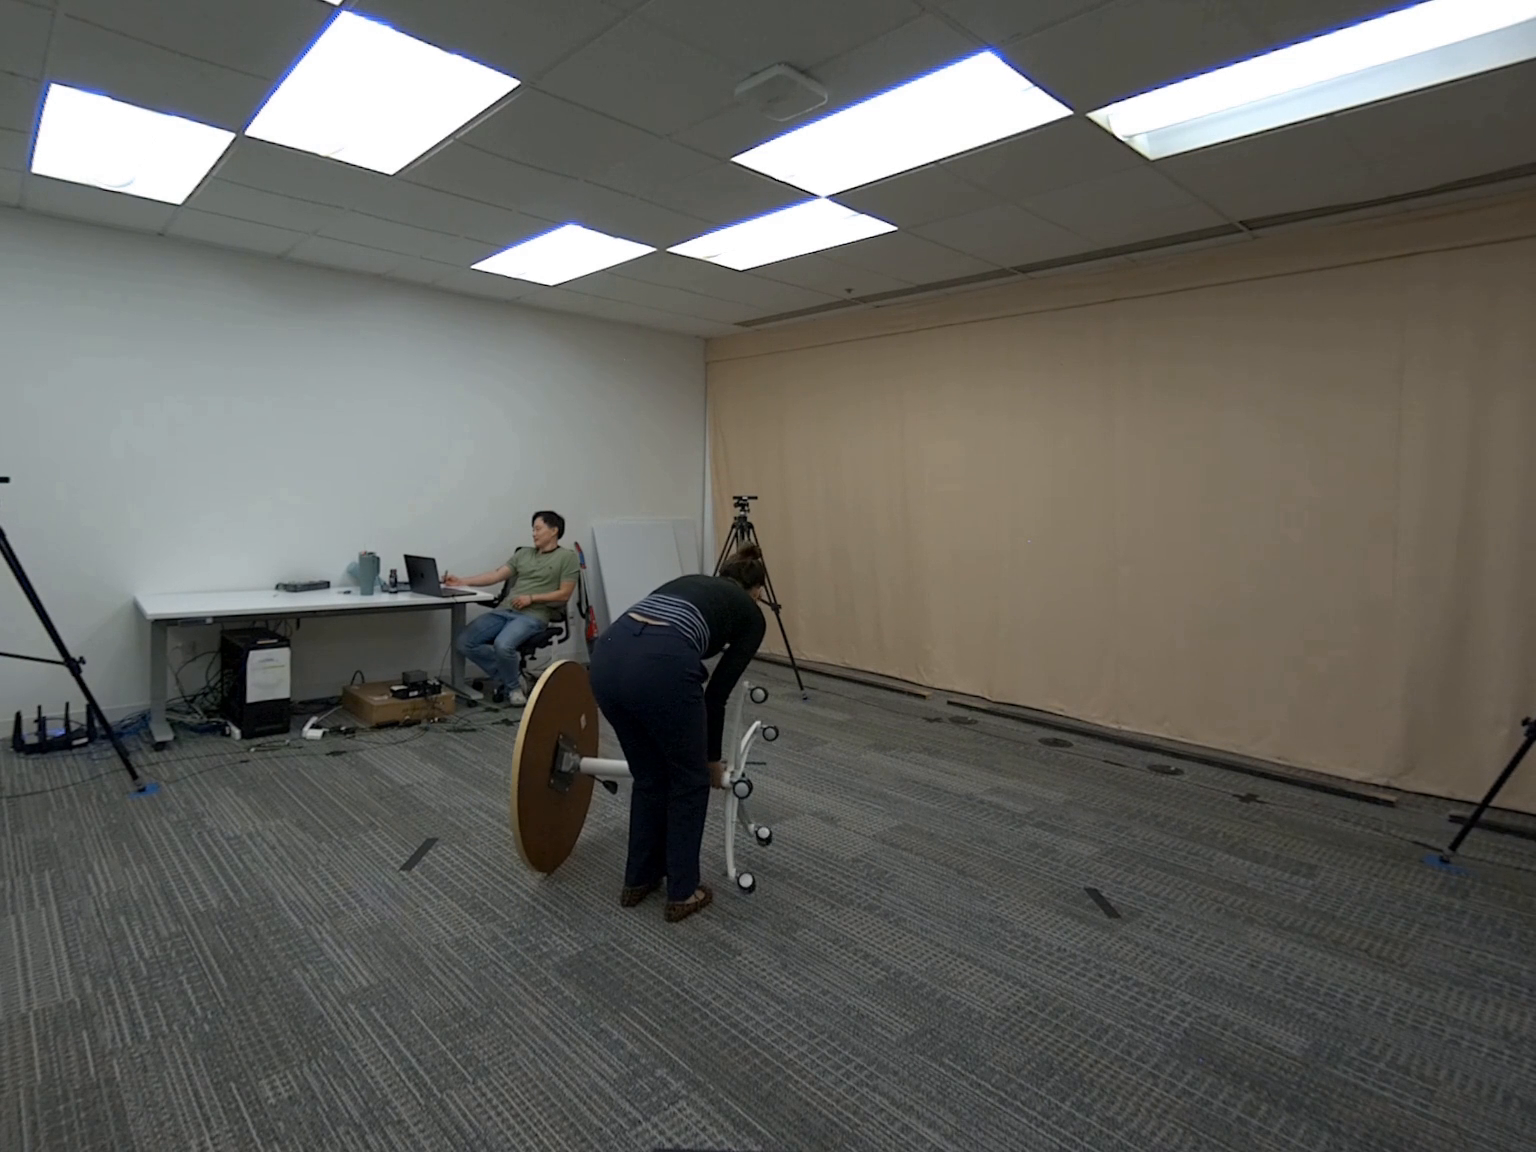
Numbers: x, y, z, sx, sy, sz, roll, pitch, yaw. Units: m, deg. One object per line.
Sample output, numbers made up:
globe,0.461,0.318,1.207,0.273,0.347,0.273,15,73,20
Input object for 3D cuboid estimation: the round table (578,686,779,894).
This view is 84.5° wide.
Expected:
round table,-0.400,0.716,3.068,0.801,0.762,0.759,2,4,10
